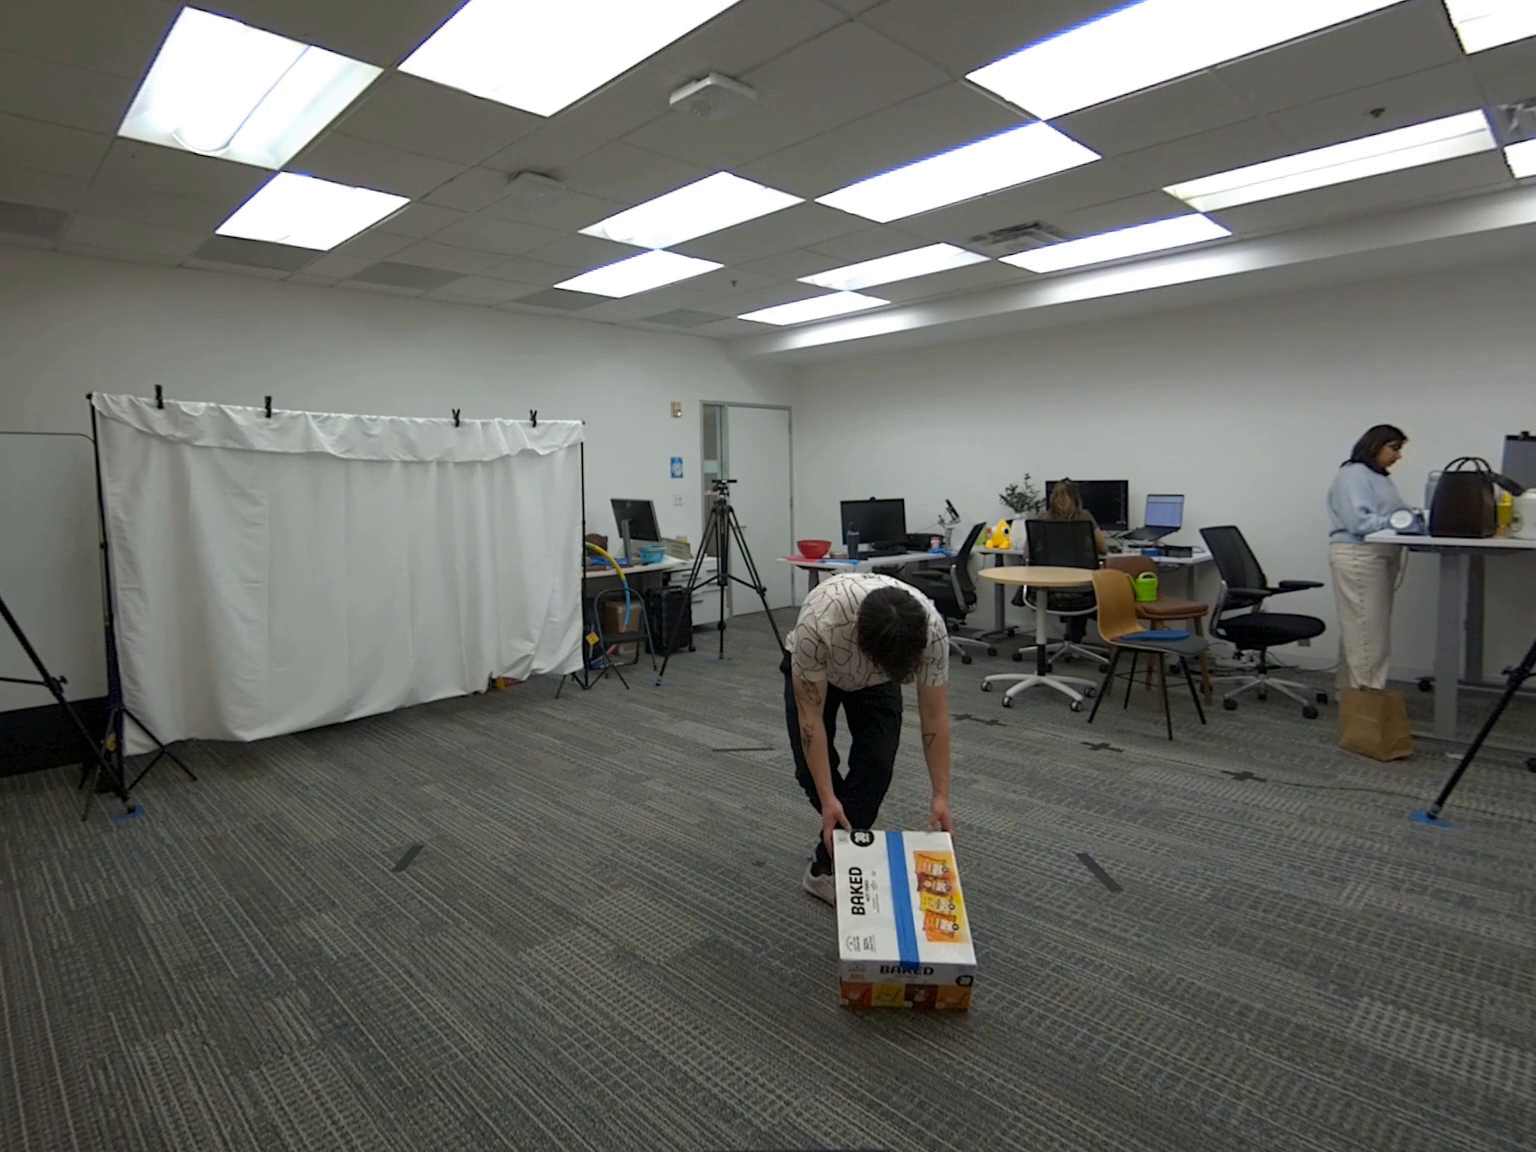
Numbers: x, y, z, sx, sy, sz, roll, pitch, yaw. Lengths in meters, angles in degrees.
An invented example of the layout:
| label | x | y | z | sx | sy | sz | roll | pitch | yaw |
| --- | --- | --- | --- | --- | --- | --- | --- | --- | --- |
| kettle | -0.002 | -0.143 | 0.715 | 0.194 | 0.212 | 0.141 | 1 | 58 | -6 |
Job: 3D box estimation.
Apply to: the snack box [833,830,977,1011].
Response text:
| label | x | y | z | sx | sy | sz | roll | pitch | yaw |
| --- | --- | --- | --- | --- | --- | --- | --- | --- | --- |
| snack box | 0.367 | 0.944 | 2.369 | 0.341 | 0.200 | 0.415 | -1 | 34 | 2 |
